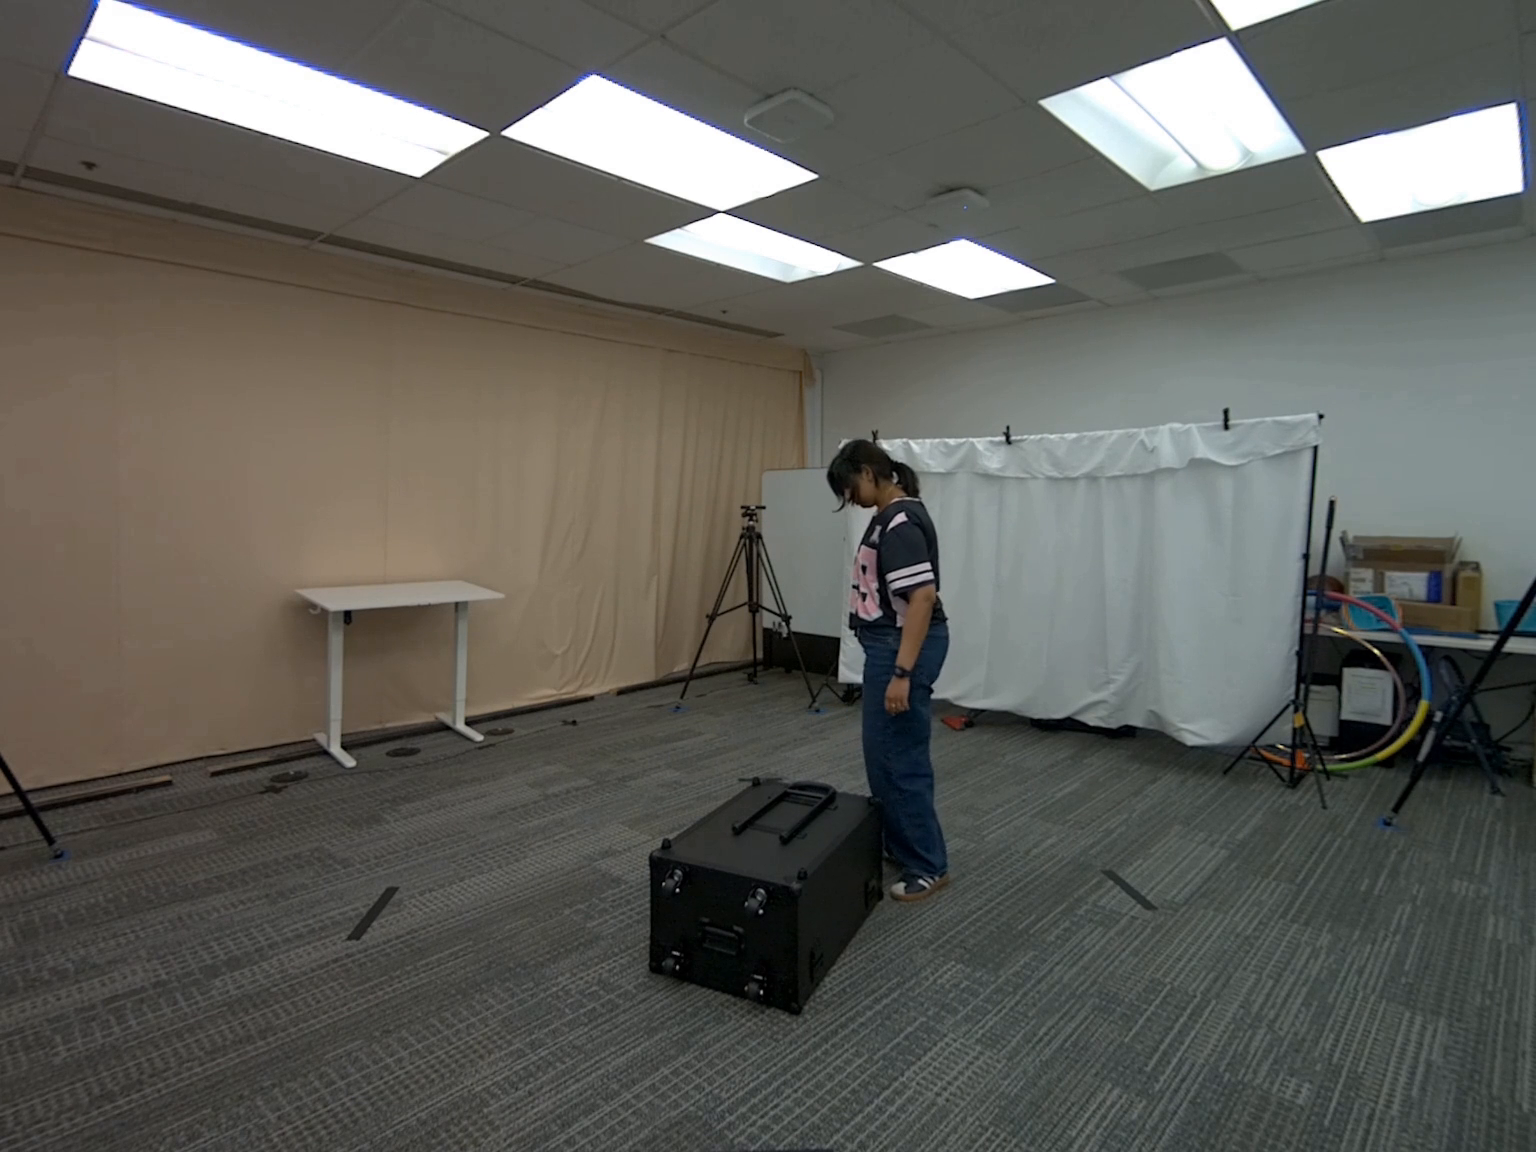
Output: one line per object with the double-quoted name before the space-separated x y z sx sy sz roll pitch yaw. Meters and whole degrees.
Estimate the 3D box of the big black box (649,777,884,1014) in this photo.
"big black box" 0.019 0.982 2.702 0.537 0.384 0.848 3 6 25
